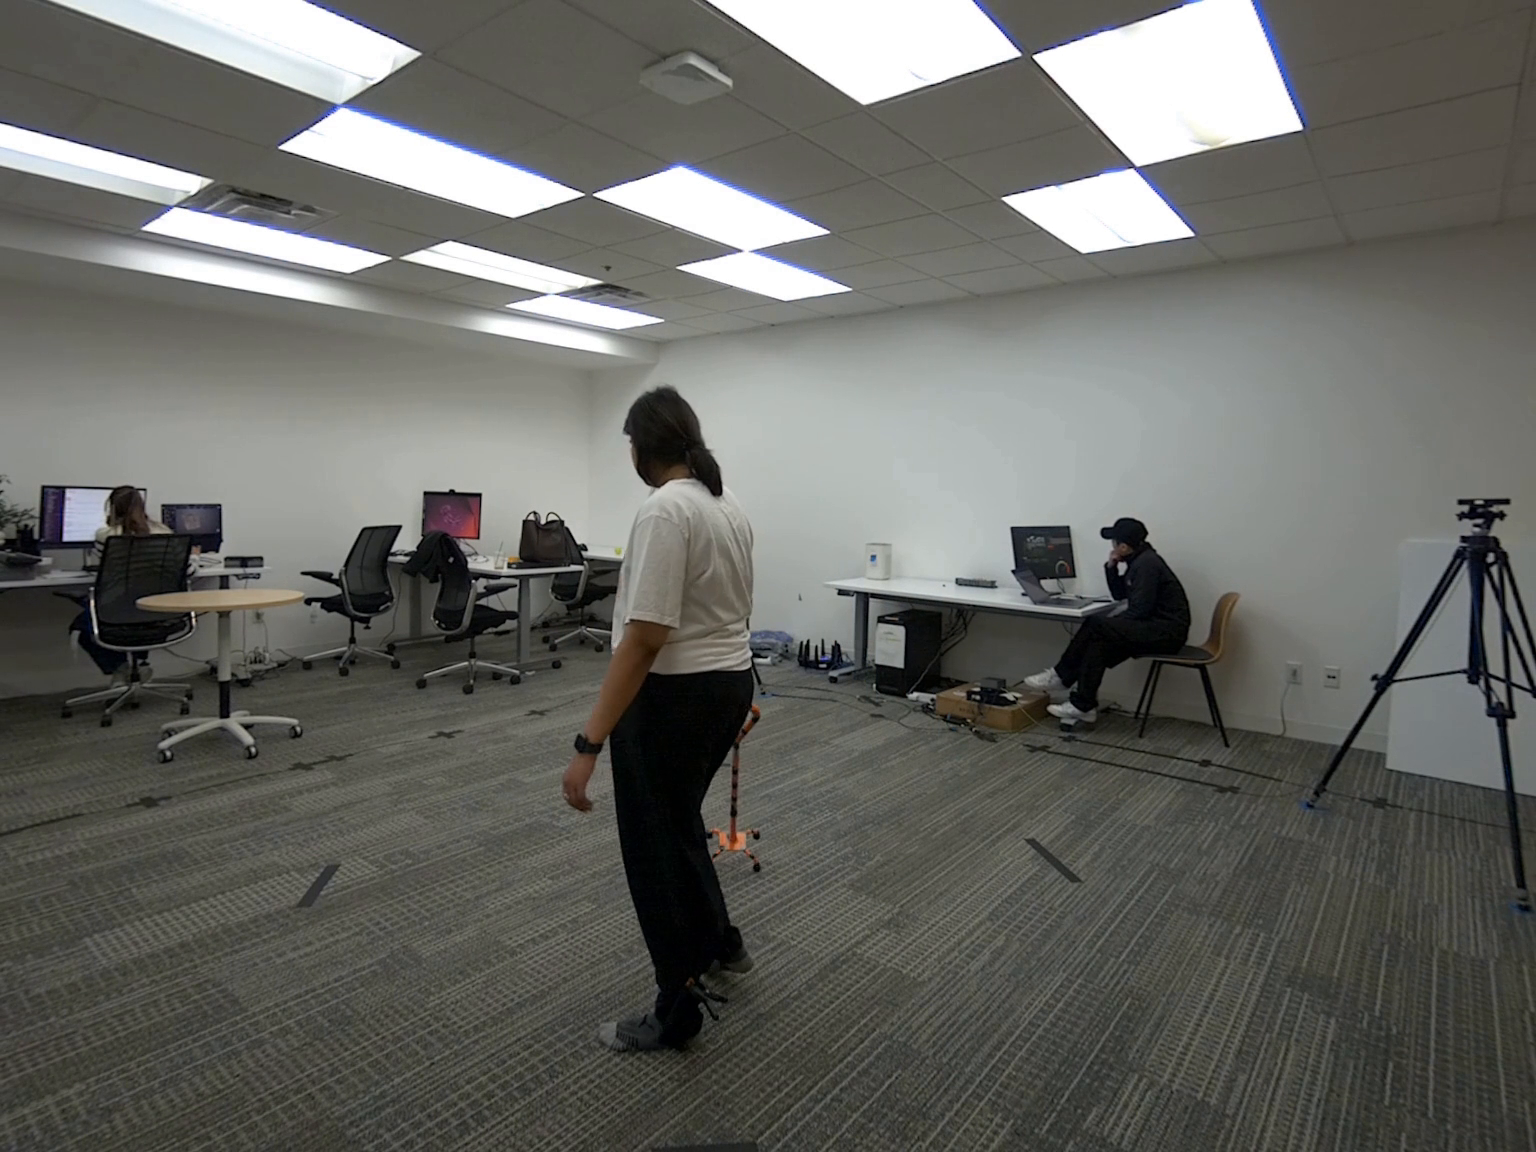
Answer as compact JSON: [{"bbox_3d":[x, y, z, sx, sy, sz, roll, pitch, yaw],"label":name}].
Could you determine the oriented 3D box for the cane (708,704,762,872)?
[{"bbox_3d":[-0.121,0.705,2.843,0.206,0.883,0.156,2,44,-2],"label":"cane"}]
